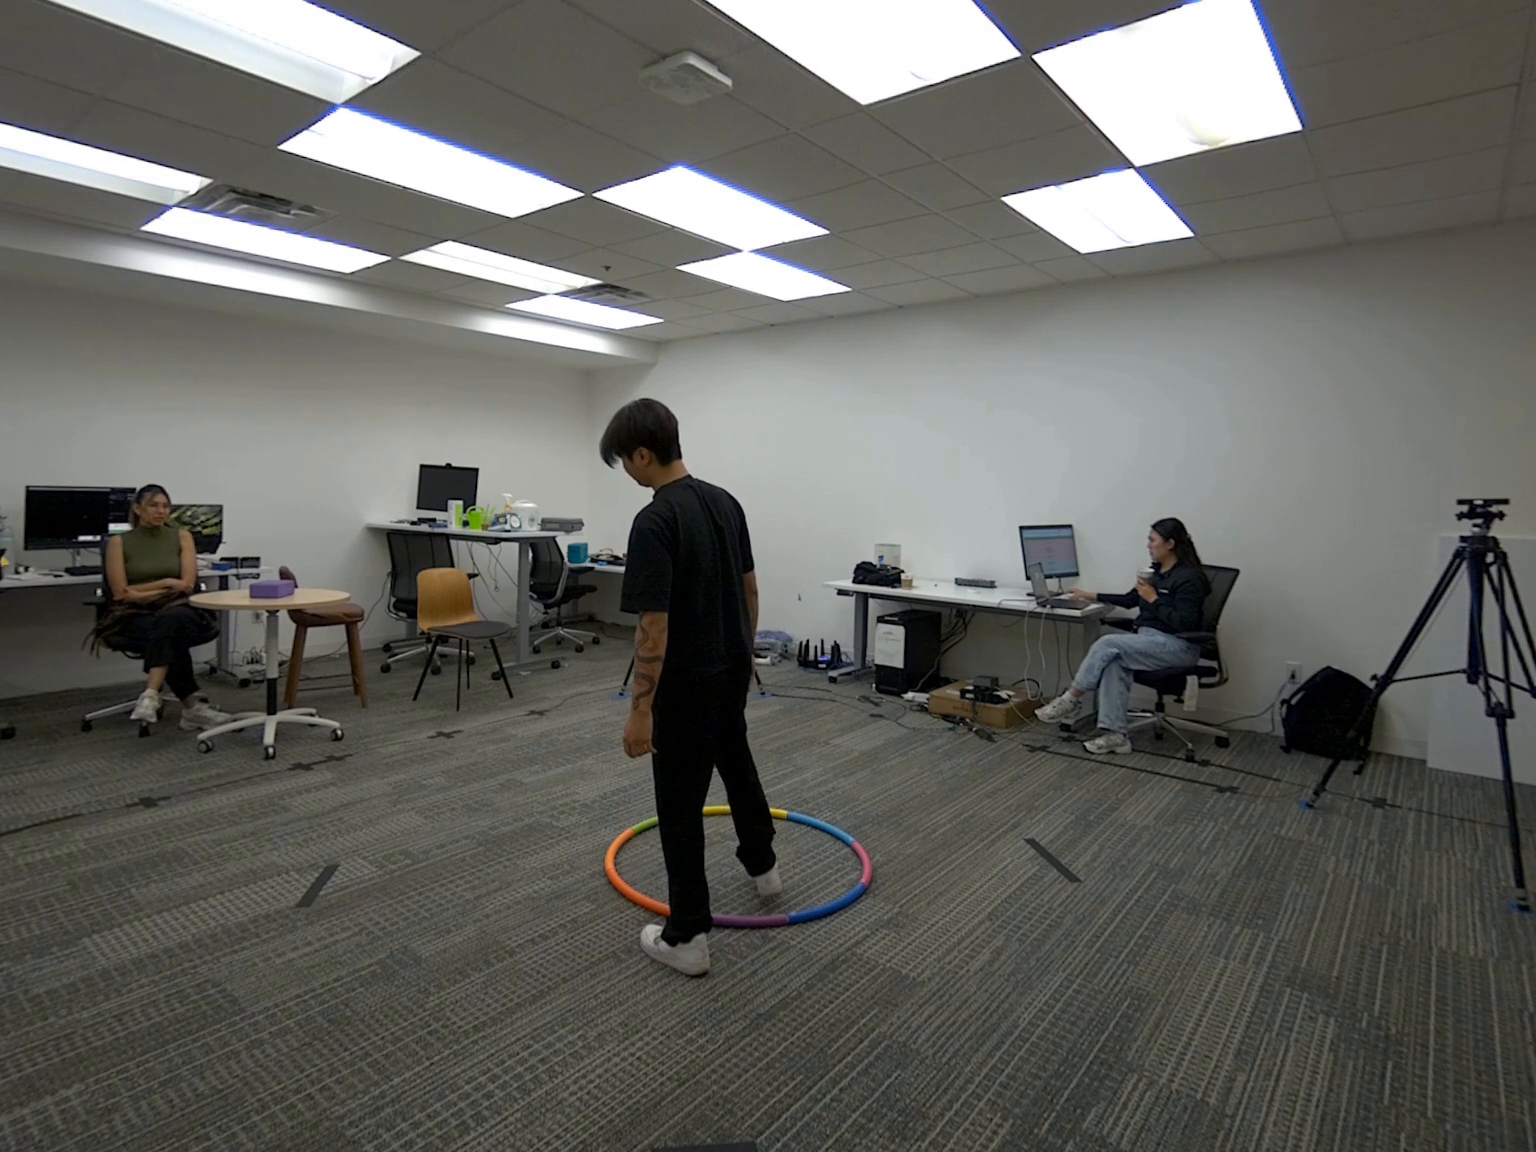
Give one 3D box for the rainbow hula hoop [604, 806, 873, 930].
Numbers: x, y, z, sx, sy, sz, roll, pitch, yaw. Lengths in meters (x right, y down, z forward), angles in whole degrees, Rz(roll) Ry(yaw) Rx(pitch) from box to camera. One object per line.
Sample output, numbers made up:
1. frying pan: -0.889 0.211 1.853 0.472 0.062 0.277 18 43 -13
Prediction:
1. rainbow hula hoop: -0.121 1.036 3.171 0.978 0.035 0.984 1 6 -2
